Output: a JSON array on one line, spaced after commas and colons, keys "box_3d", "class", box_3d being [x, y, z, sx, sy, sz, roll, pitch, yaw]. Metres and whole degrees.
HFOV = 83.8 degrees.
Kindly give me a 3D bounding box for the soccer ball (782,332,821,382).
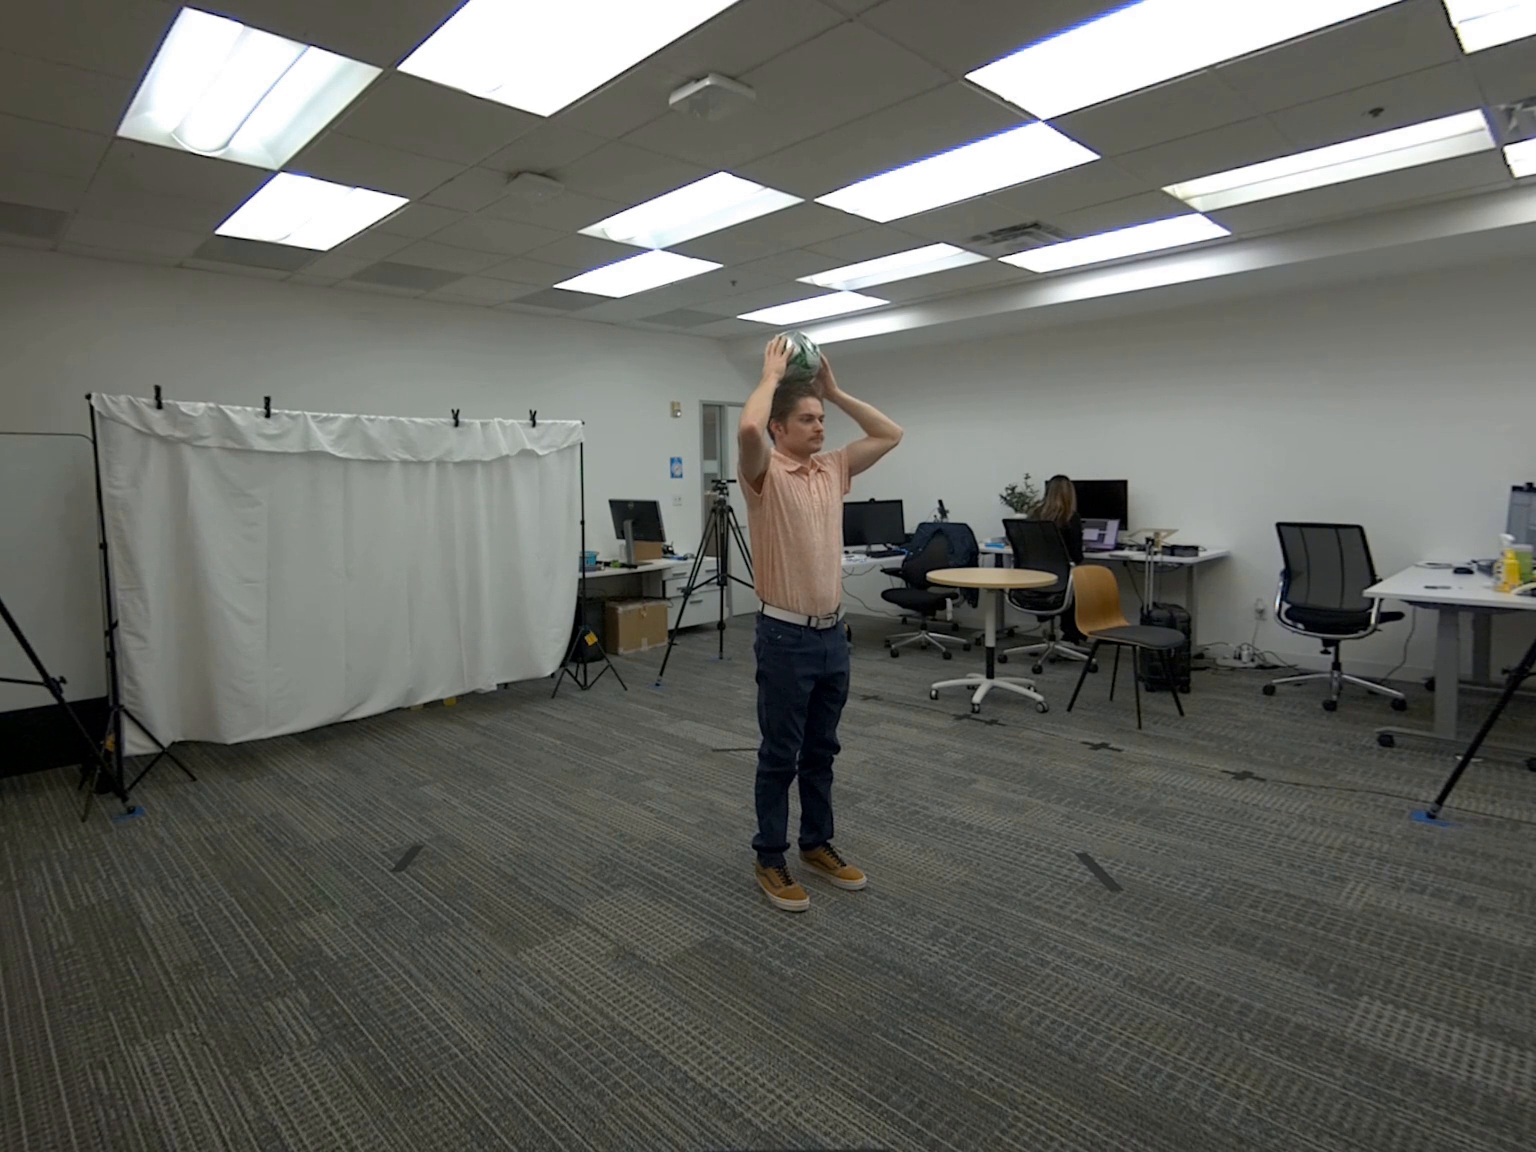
[{"box_3d": [0.092, -0.724, 2.877, 0.187, 0.187, 0.188, -1, 5, -2], "class": "soccer ball"}]
